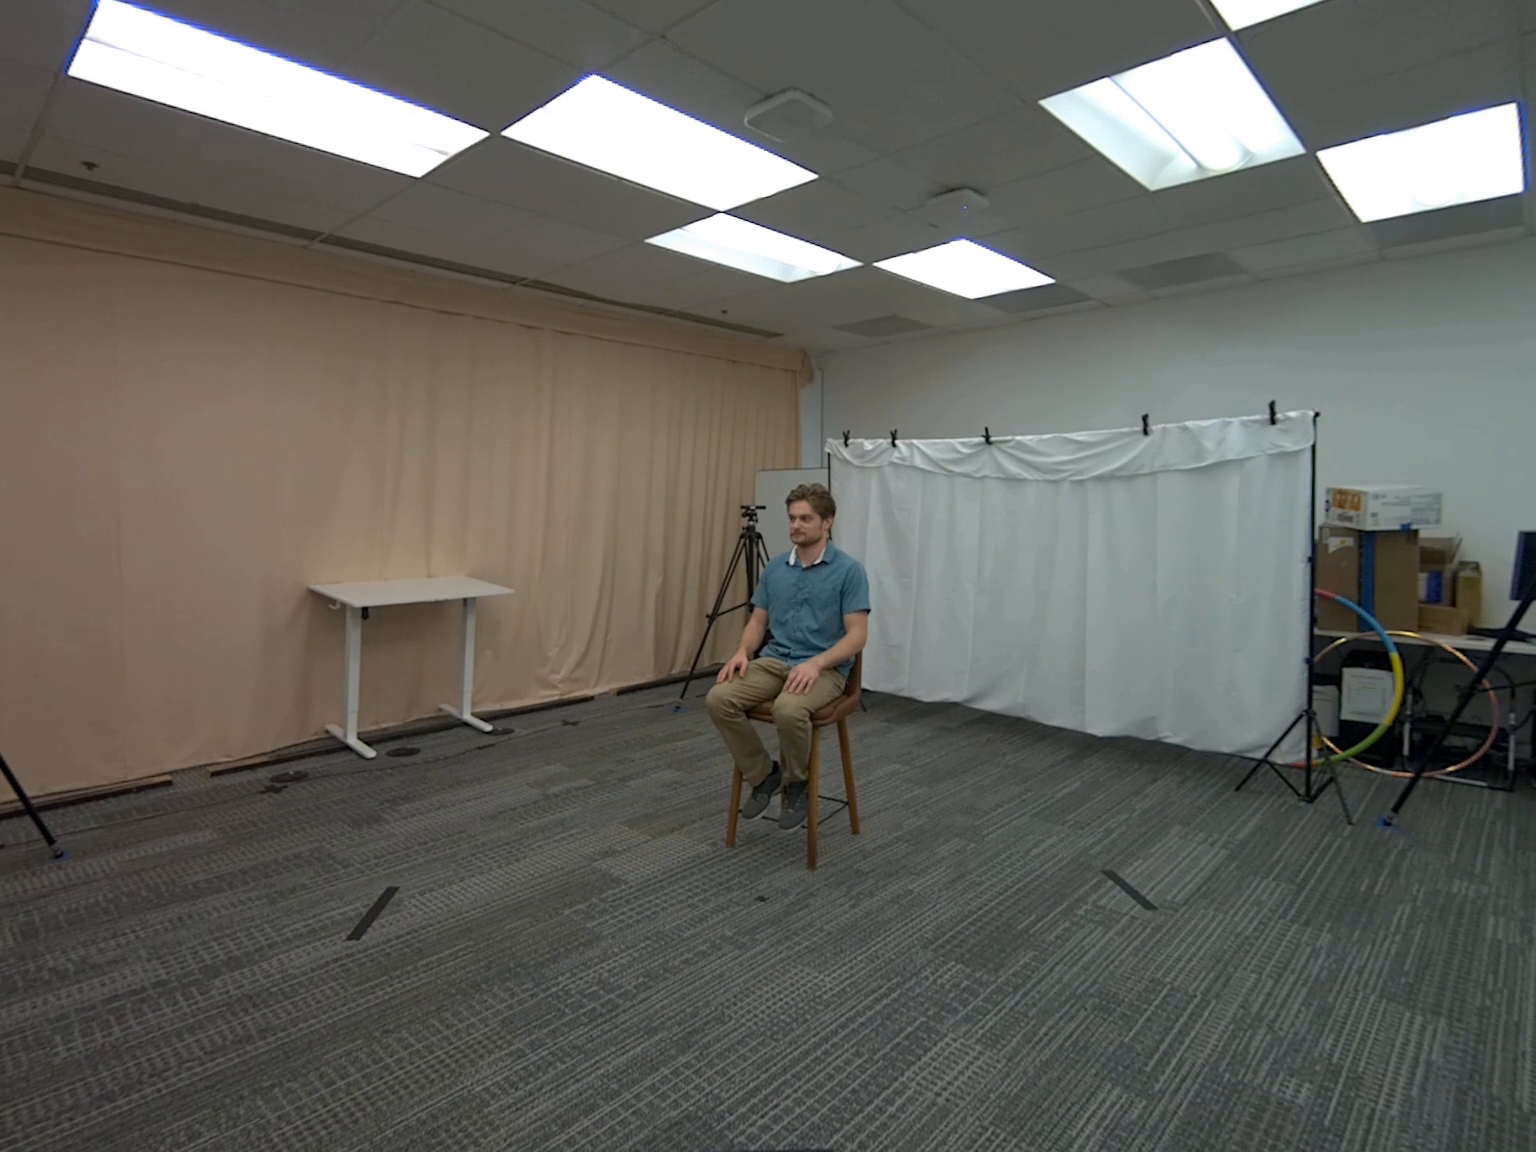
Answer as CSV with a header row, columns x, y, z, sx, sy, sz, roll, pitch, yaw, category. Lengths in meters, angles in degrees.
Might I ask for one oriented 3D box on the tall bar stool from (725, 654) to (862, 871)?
x,y,z,sx,sy,sz,roll,pitch,yaw,category
0.128,0.663,3.495,0.471,0.889,0.454,3,2,34,tall bar stool
